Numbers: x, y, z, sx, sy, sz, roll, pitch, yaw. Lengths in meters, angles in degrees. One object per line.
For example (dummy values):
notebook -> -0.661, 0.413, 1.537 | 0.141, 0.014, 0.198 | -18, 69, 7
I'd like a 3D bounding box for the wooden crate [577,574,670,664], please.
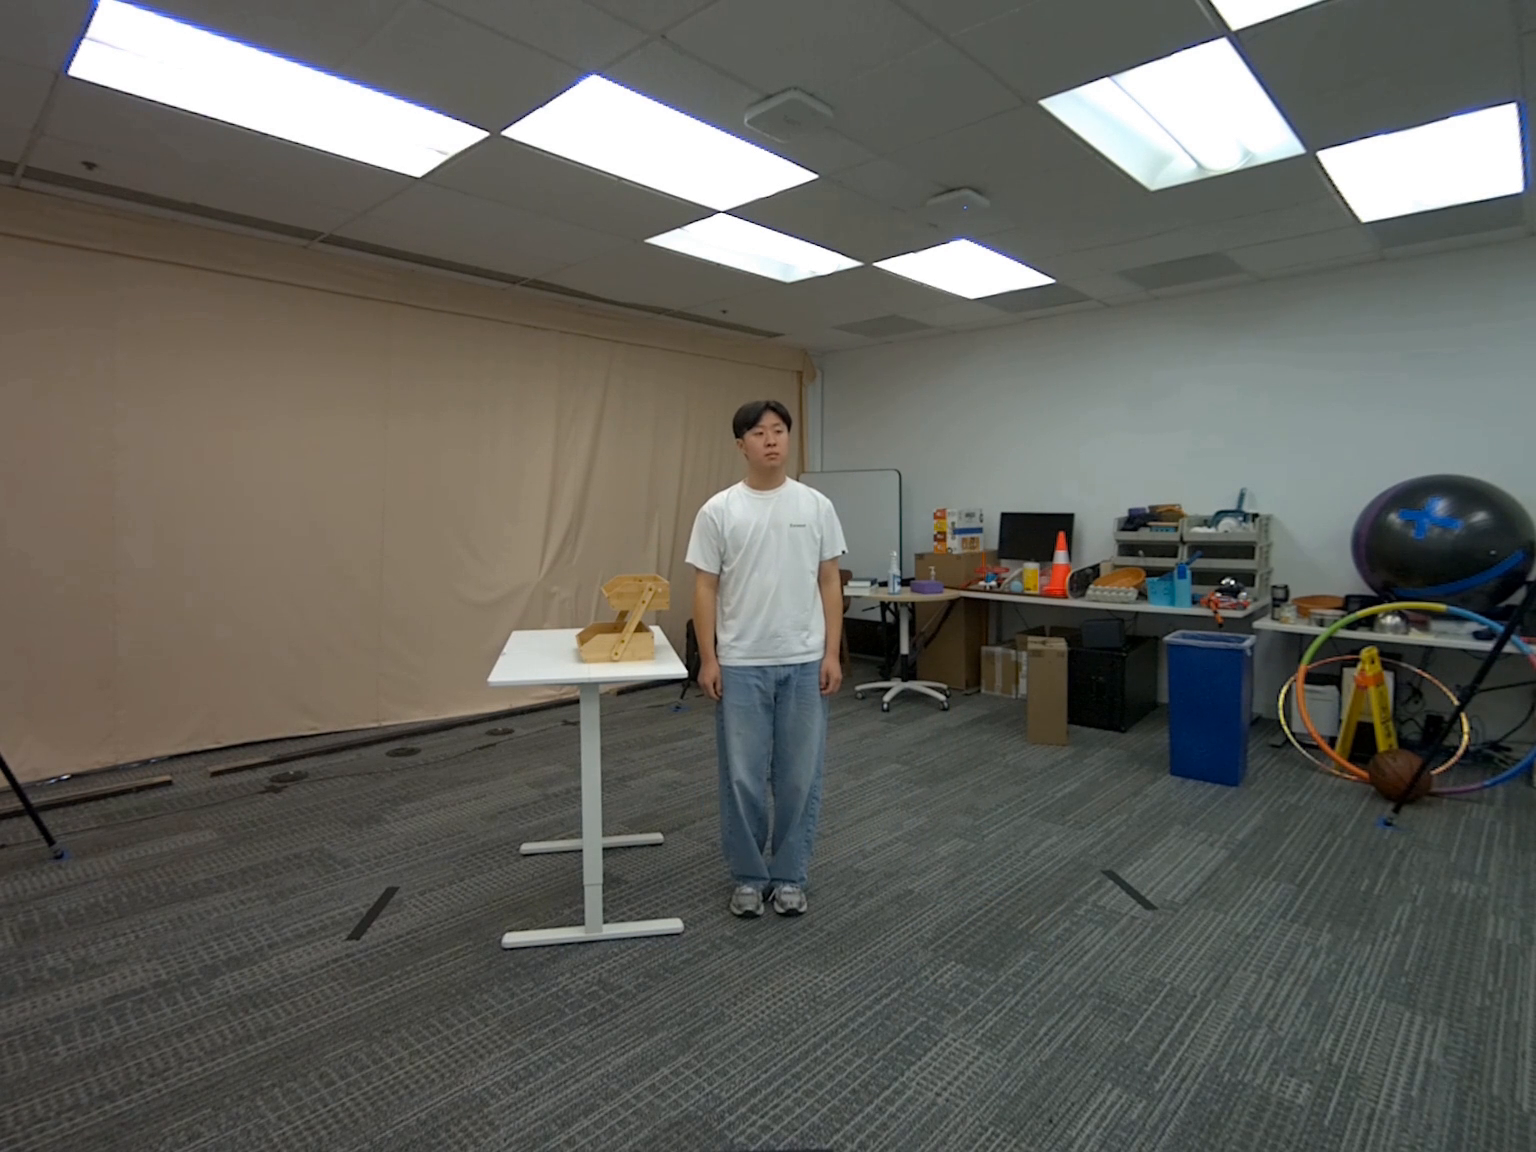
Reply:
wooden crate -> -0.511, 0.142, 2.926 | 0.298, 0.272, 0.330 | -1, 5, -14
